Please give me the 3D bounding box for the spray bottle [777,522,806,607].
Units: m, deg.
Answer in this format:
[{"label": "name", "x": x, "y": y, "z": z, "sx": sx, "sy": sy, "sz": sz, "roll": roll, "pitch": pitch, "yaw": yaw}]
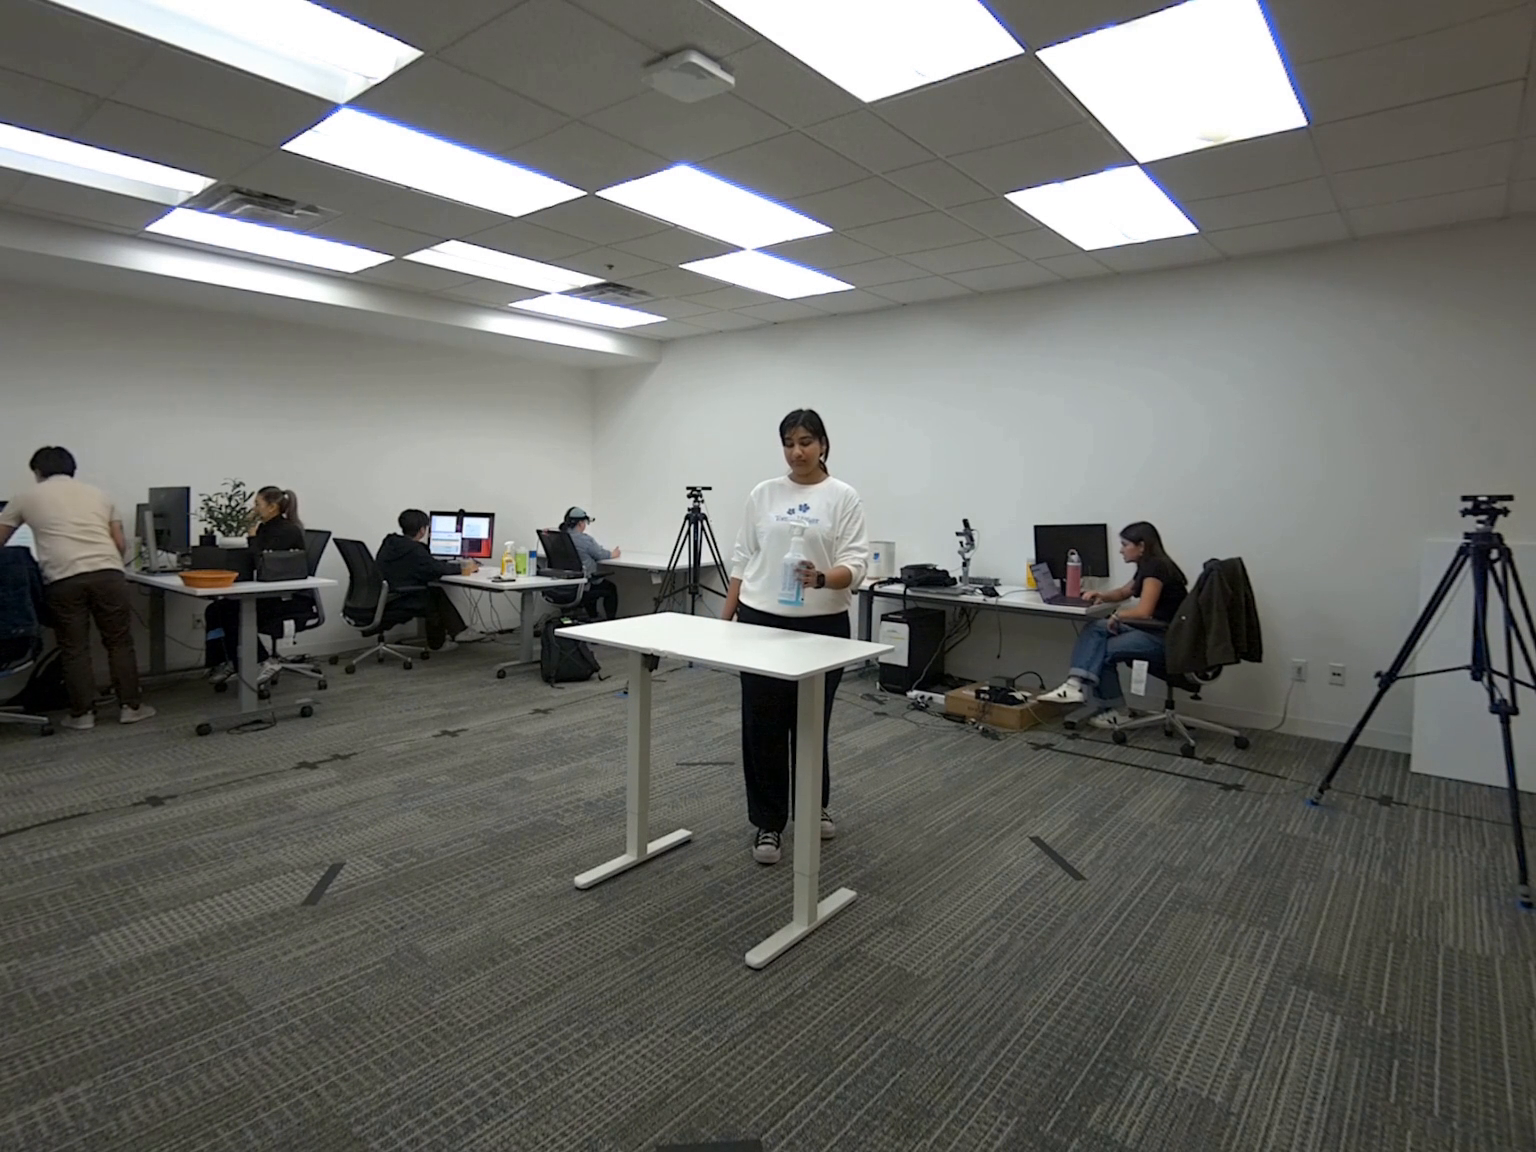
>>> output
[{"label": "spray bottle", "x": 0.088, "y": -0.049, "z": 2.897, "sx": 0.085, "sy": 0.298, "sz": 0.092, "roll": 7, "pitch": -5, "yaw": -25}]
